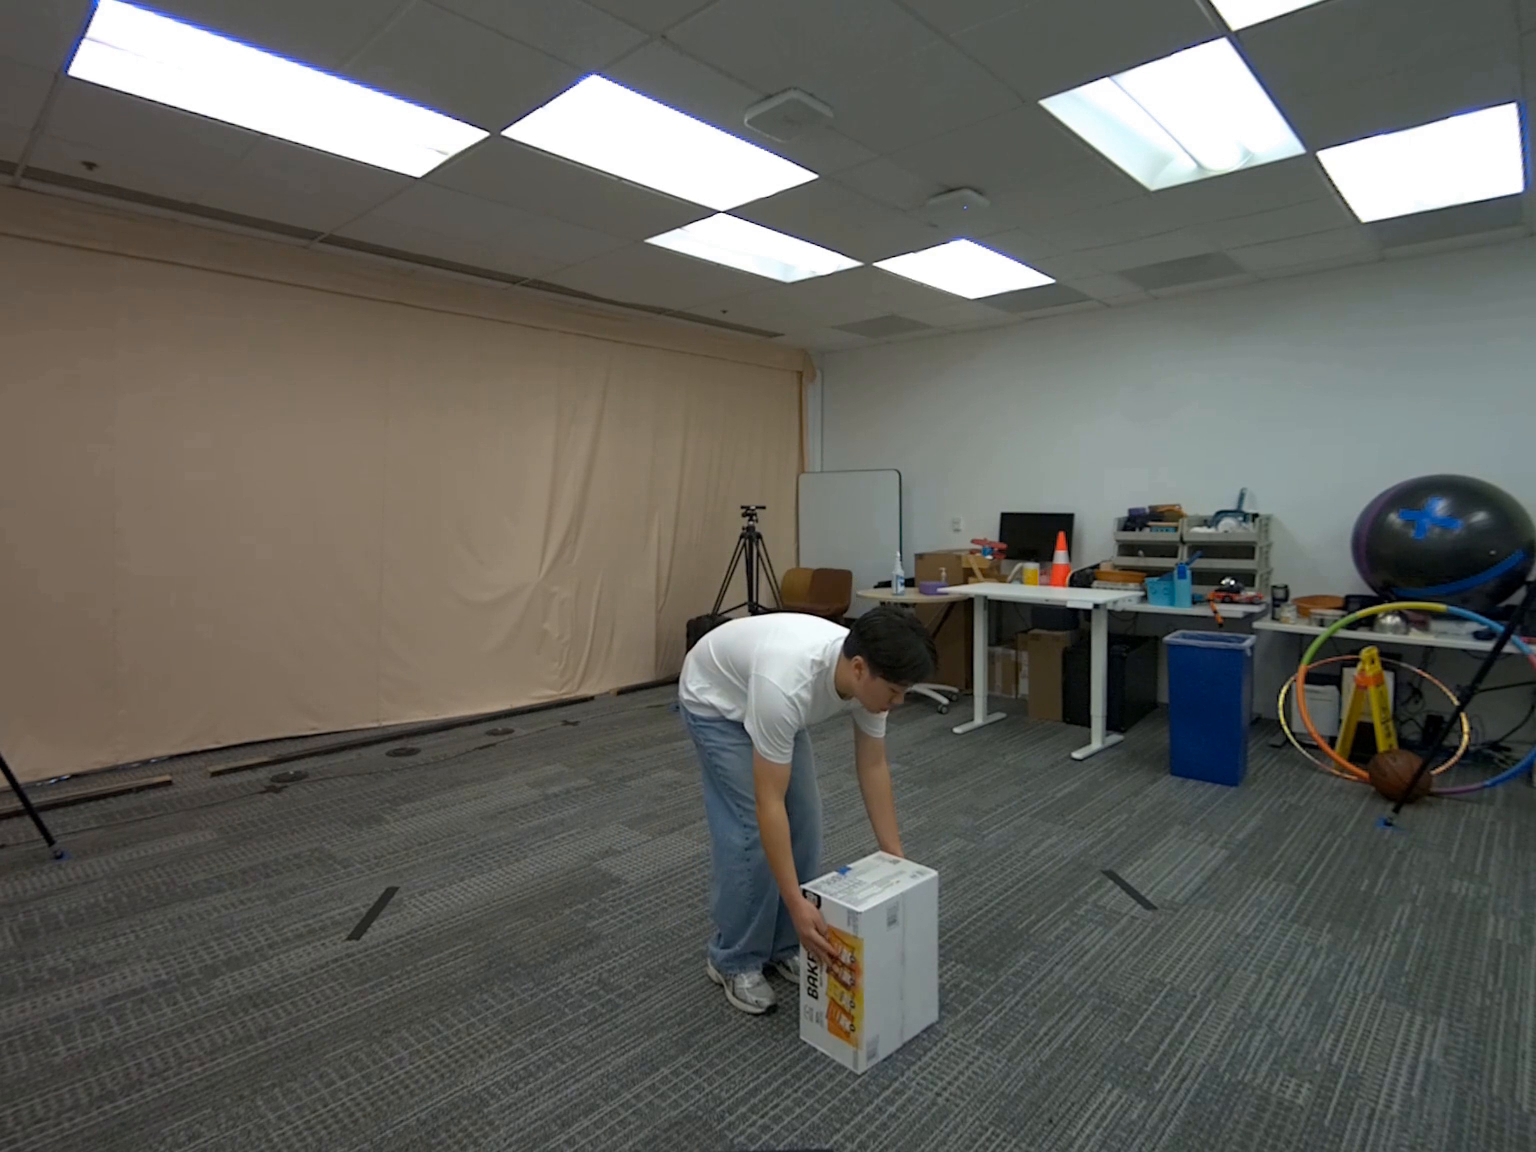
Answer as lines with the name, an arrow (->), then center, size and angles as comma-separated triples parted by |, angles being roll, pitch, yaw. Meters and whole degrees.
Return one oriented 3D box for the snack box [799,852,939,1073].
snack box -> 0.278, 1.003, 2.229 | 0.330, 0.404, 0.212 | -2, 3, -44
